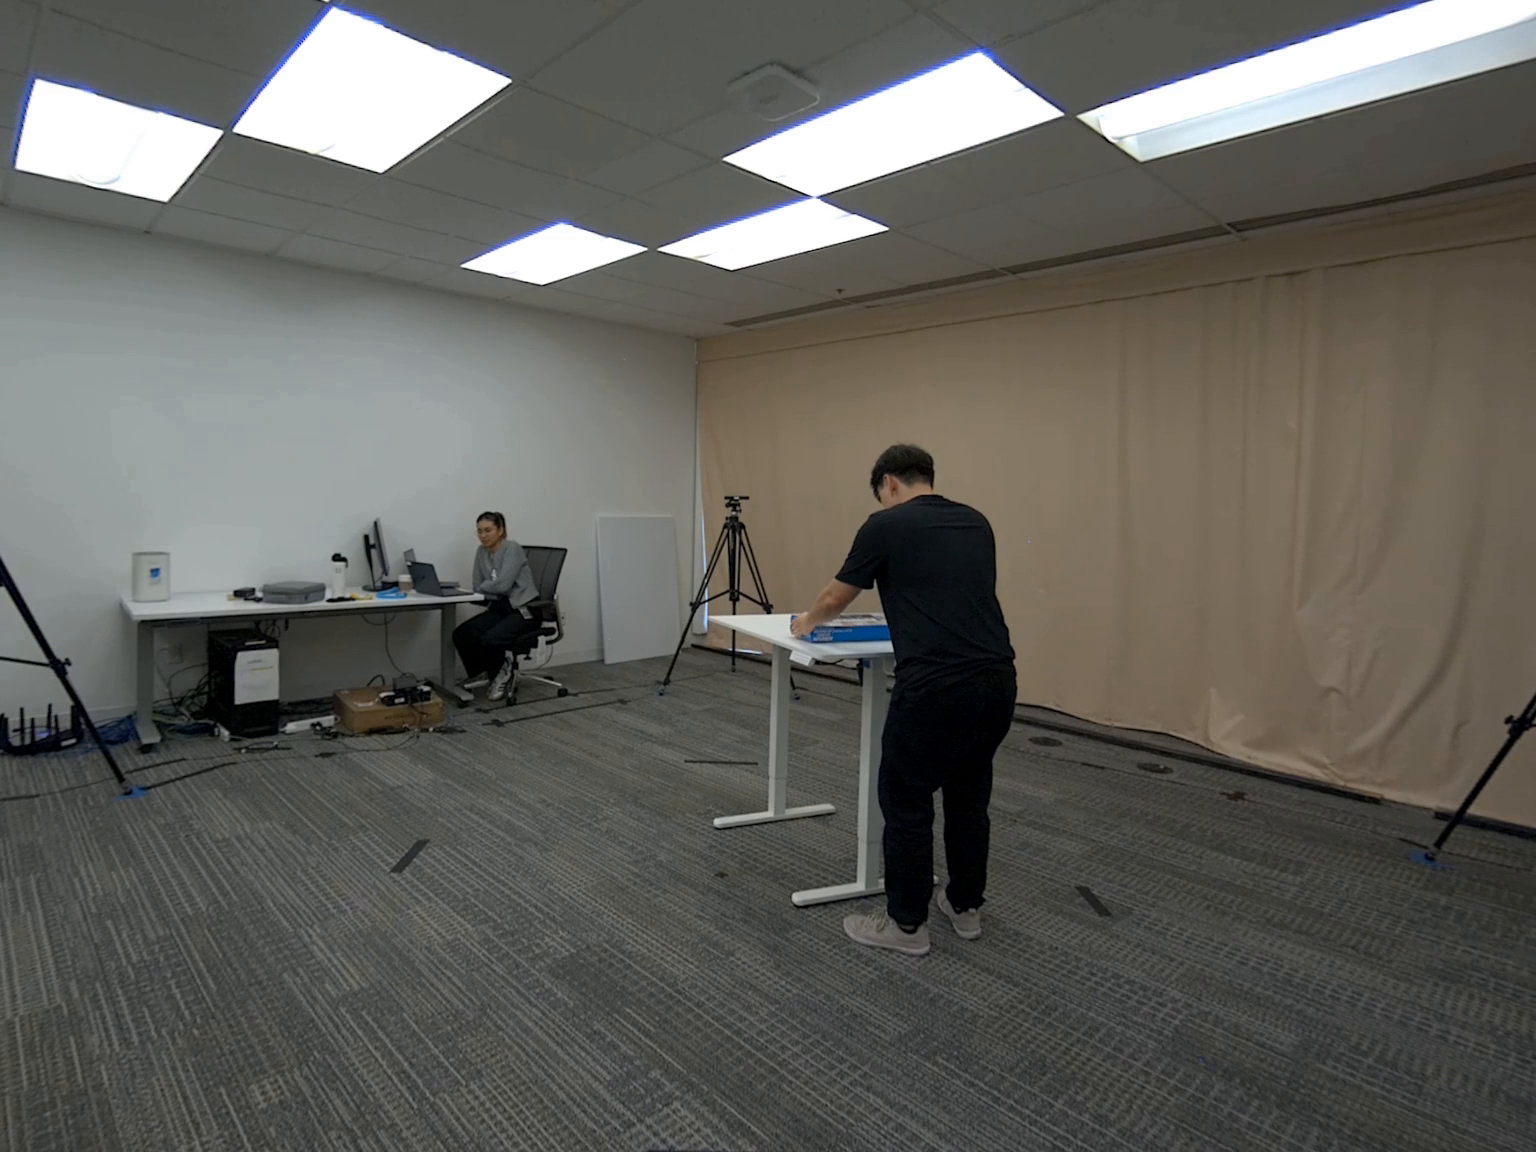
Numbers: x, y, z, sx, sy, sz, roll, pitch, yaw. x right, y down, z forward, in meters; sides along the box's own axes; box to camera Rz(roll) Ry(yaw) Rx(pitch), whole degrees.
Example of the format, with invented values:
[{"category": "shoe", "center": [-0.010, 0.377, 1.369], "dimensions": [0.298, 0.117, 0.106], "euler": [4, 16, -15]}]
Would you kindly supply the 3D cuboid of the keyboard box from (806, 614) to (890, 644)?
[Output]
[{"category": "keyboard box", "center": [0.318, 0.192, 3.106], "dimensions": [0.429, 0.059, 0.180], "euler": [-1, 10, -23]}]
